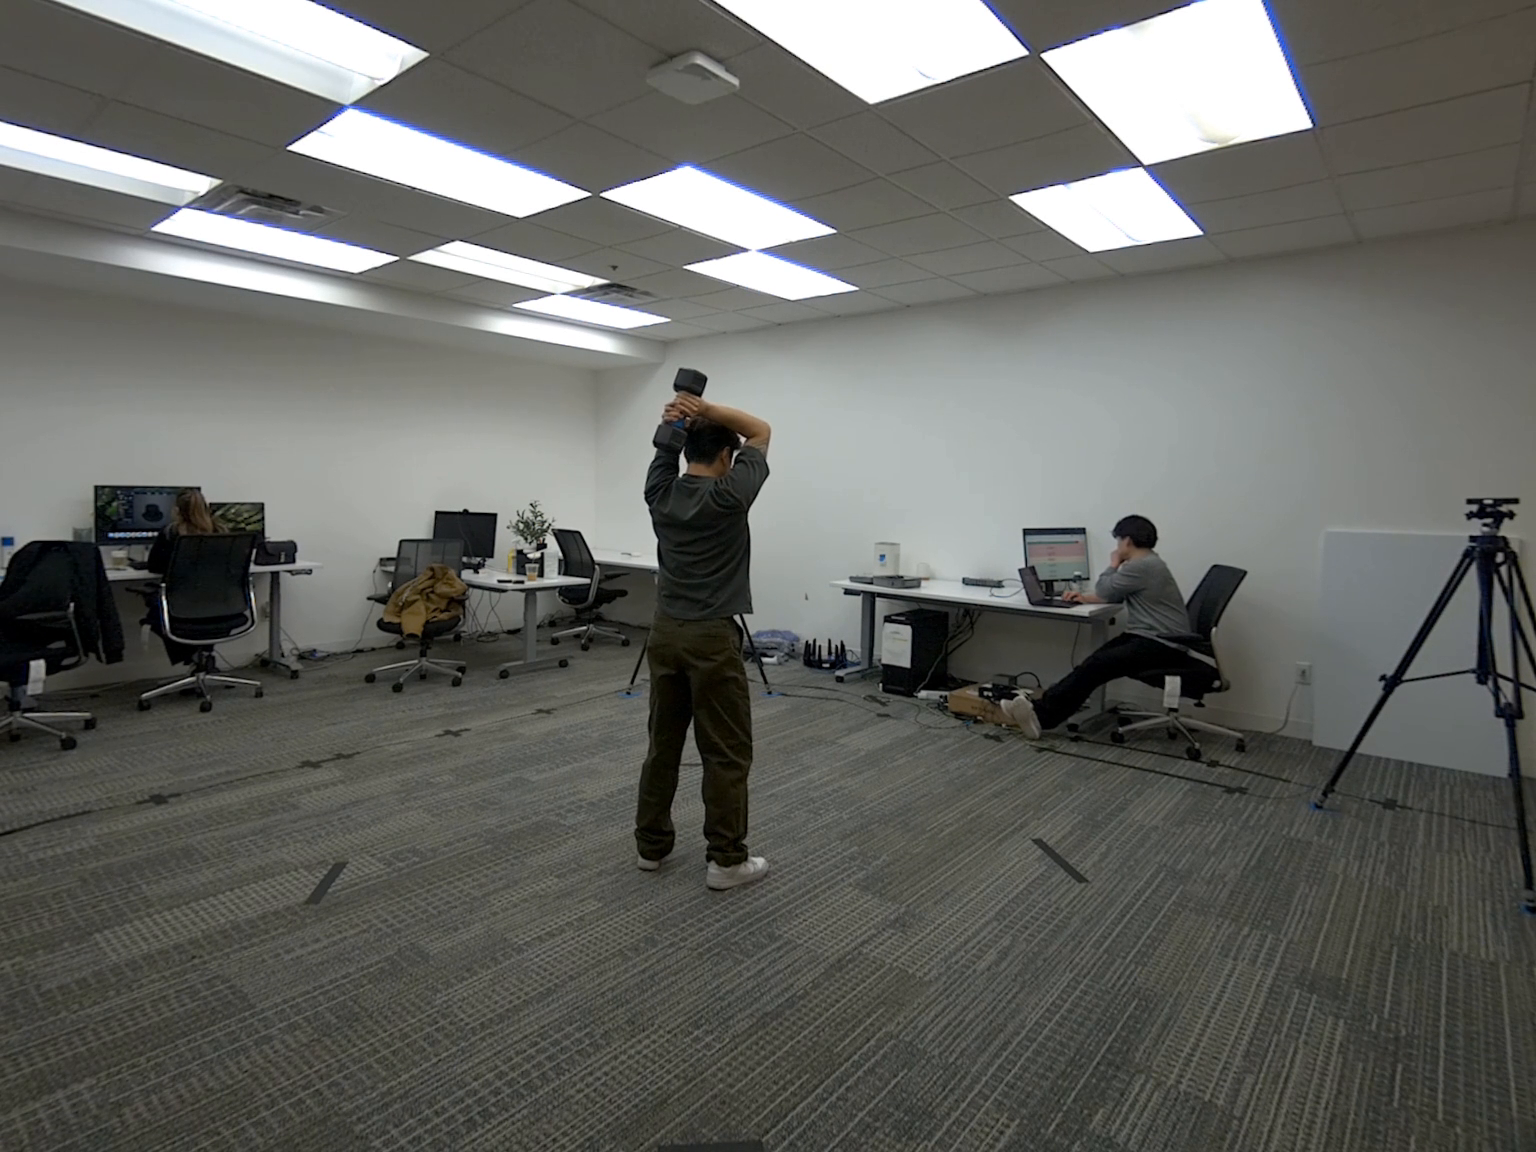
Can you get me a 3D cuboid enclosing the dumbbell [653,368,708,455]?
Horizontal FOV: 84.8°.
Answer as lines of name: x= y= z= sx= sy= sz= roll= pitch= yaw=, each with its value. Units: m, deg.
dumbbell: x=-0.317 y=-0.580 z=2.956 sx=0.119 sy=0.295 sz=0.112 roll=23 pitch=-8 yaw=-31
